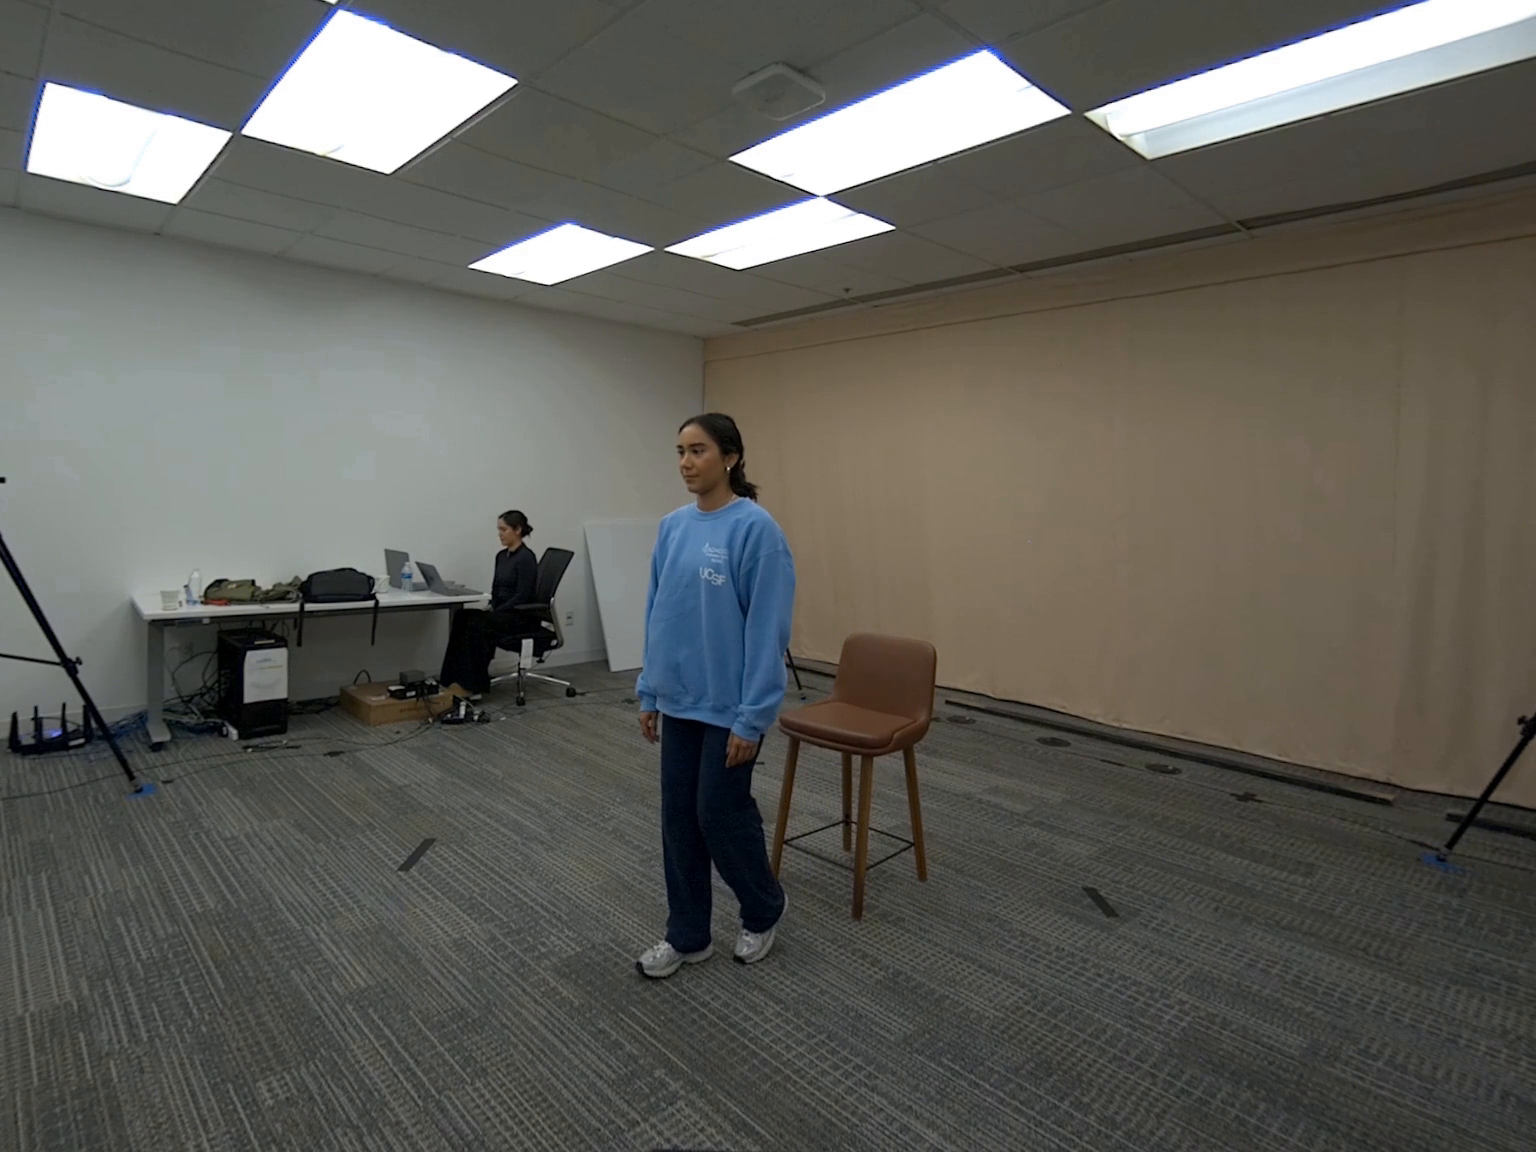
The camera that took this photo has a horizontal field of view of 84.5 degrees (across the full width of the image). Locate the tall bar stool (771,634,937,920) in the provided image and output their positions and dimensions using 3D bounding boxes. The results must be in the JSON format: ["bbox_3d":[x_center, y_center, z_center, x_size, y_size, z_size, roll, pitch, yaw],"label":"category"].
[{"bbox_3d":[0.316,0.680,3.056,0.468,0.889,0.456,5,2,44],"label":"tall bar stool"}]
